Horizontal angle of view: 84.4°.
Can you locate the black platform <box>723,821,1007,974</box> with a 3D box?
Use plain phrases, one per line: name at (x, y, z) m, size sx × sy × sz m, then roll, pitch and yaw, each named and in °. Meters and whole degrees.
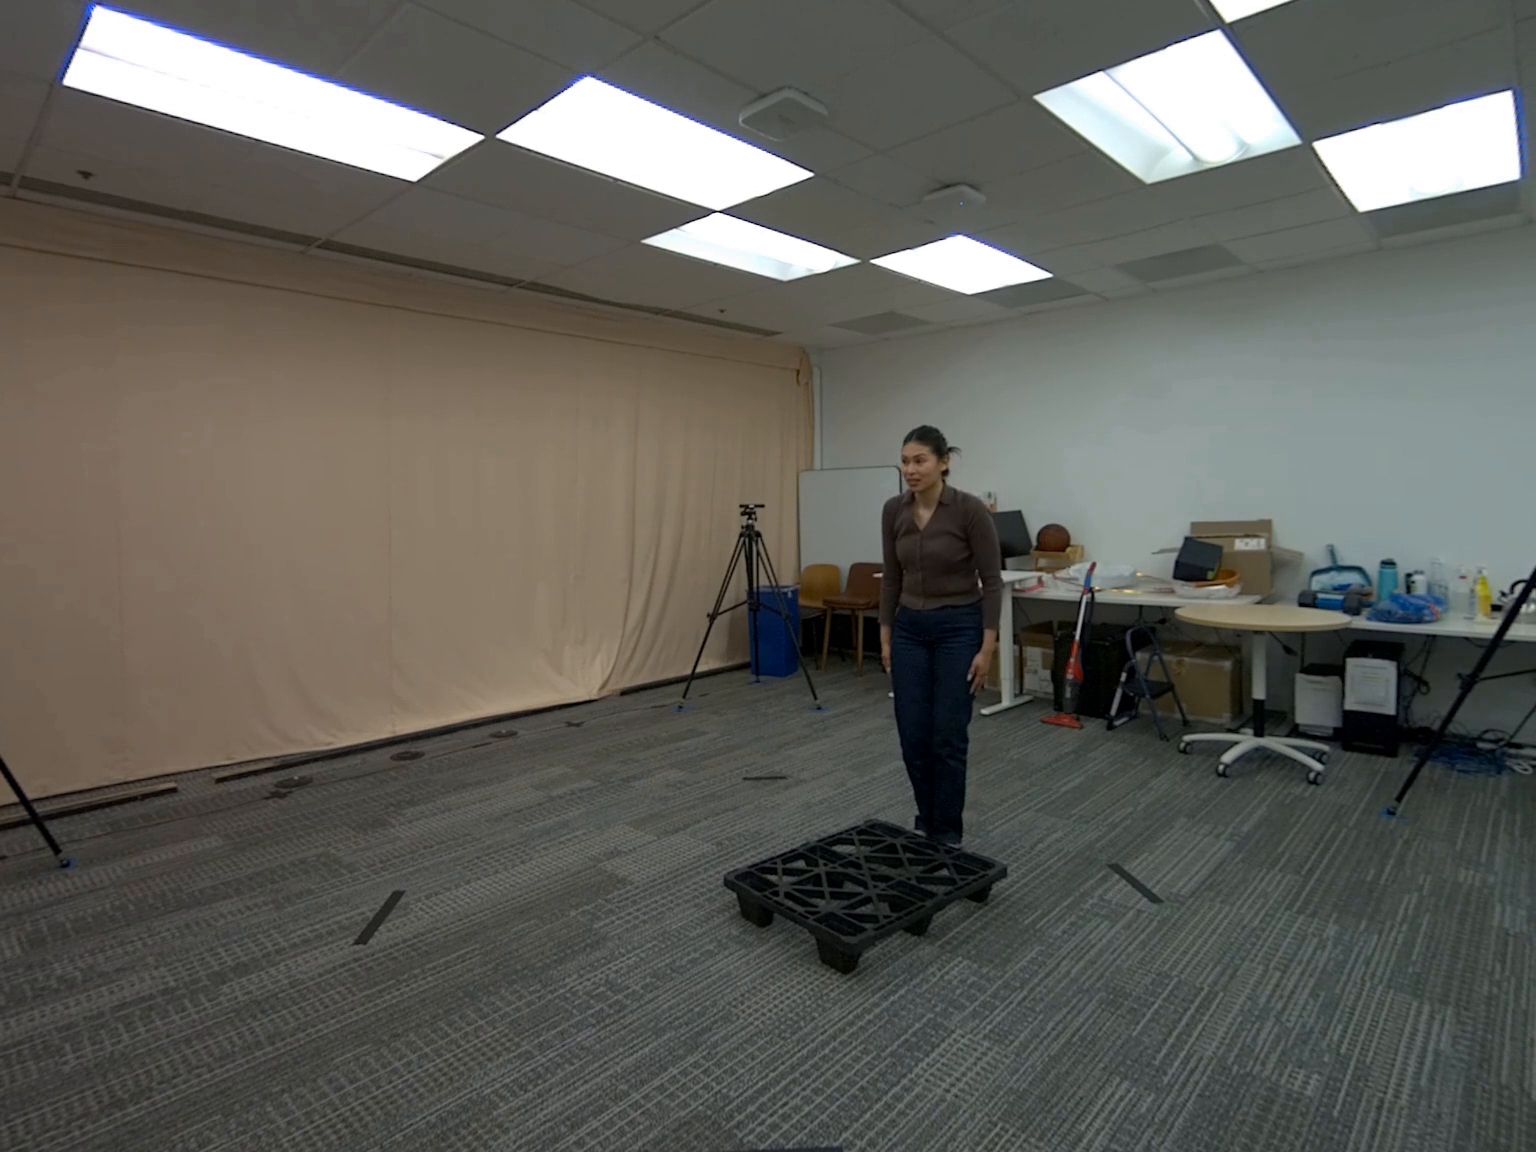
black platform at (0.334, 1.077, 2.885) m, size 0.781 × 0.143 × 0.625 m, roll -5°, pitch 5°, yaw -40°
